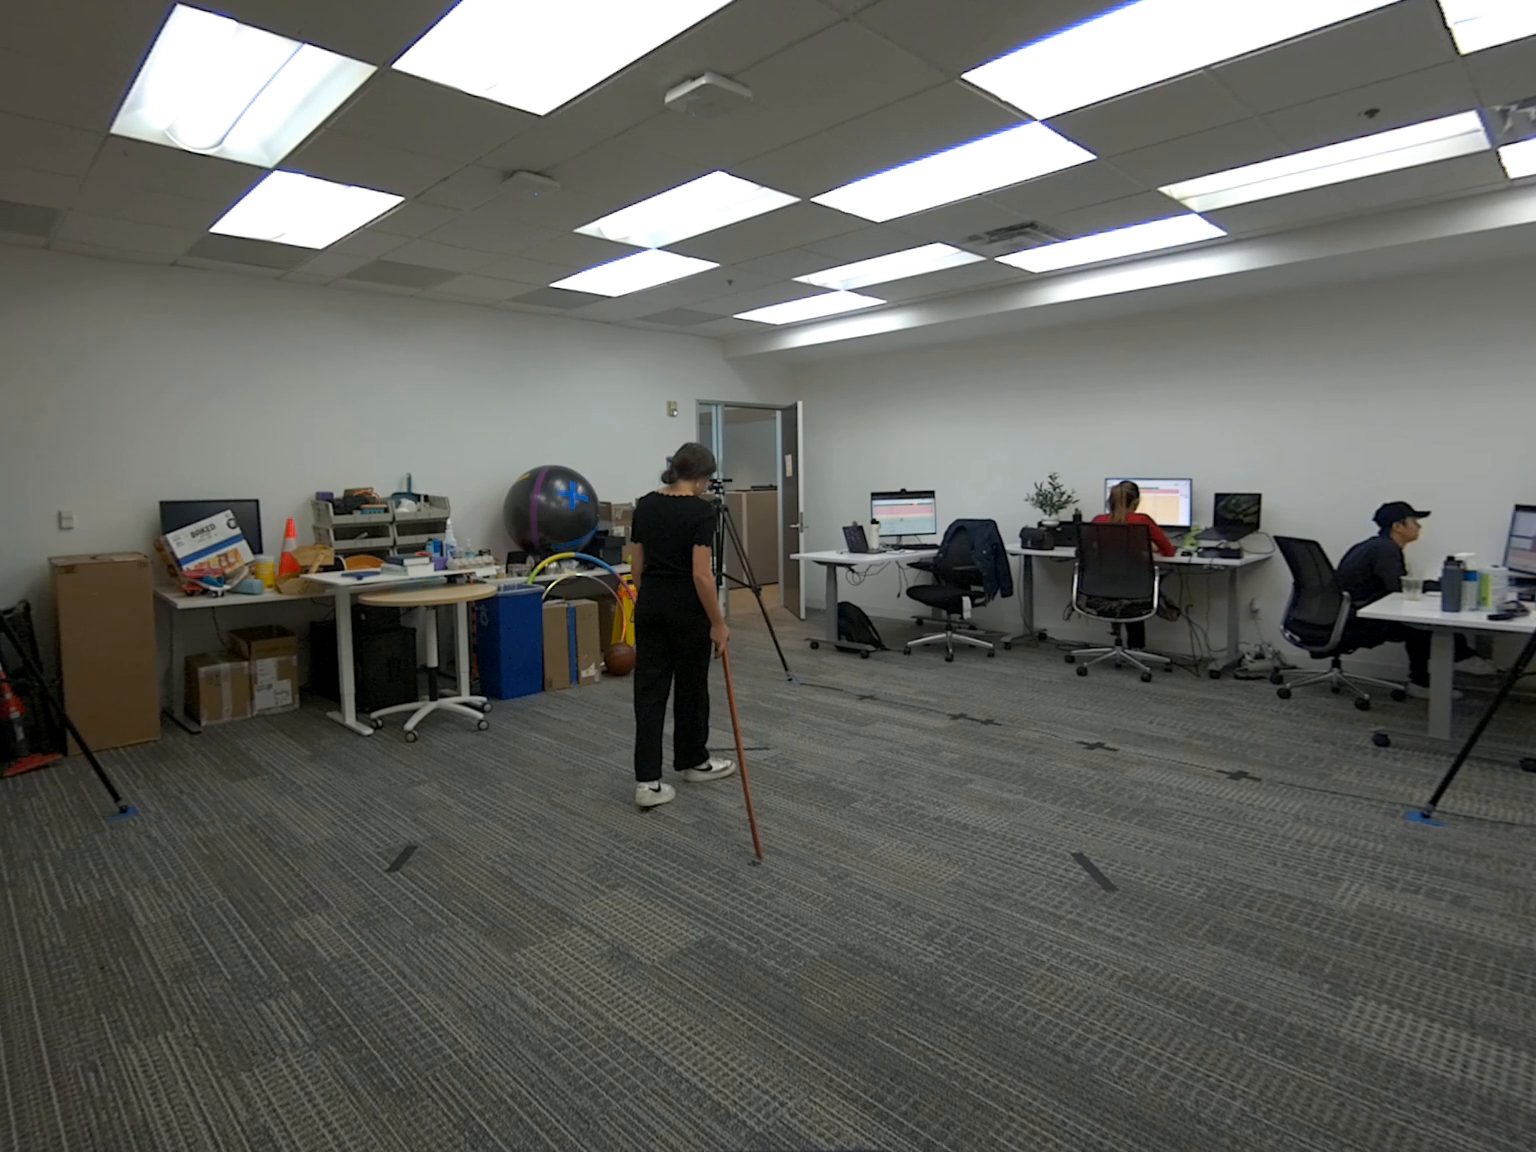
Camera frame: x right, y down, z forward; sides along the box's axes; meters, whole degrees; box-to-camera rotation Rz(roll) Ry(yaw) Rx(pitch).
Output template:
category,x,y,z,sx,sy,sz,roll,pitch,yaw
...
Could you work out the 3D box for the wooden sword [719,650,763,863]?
category,x,y,z,sx,sy,sz,roll,pitch,yaw
wooden sword,-0.119,0.634,3.456,0.023,1.057,0.051,13,-44,-30
